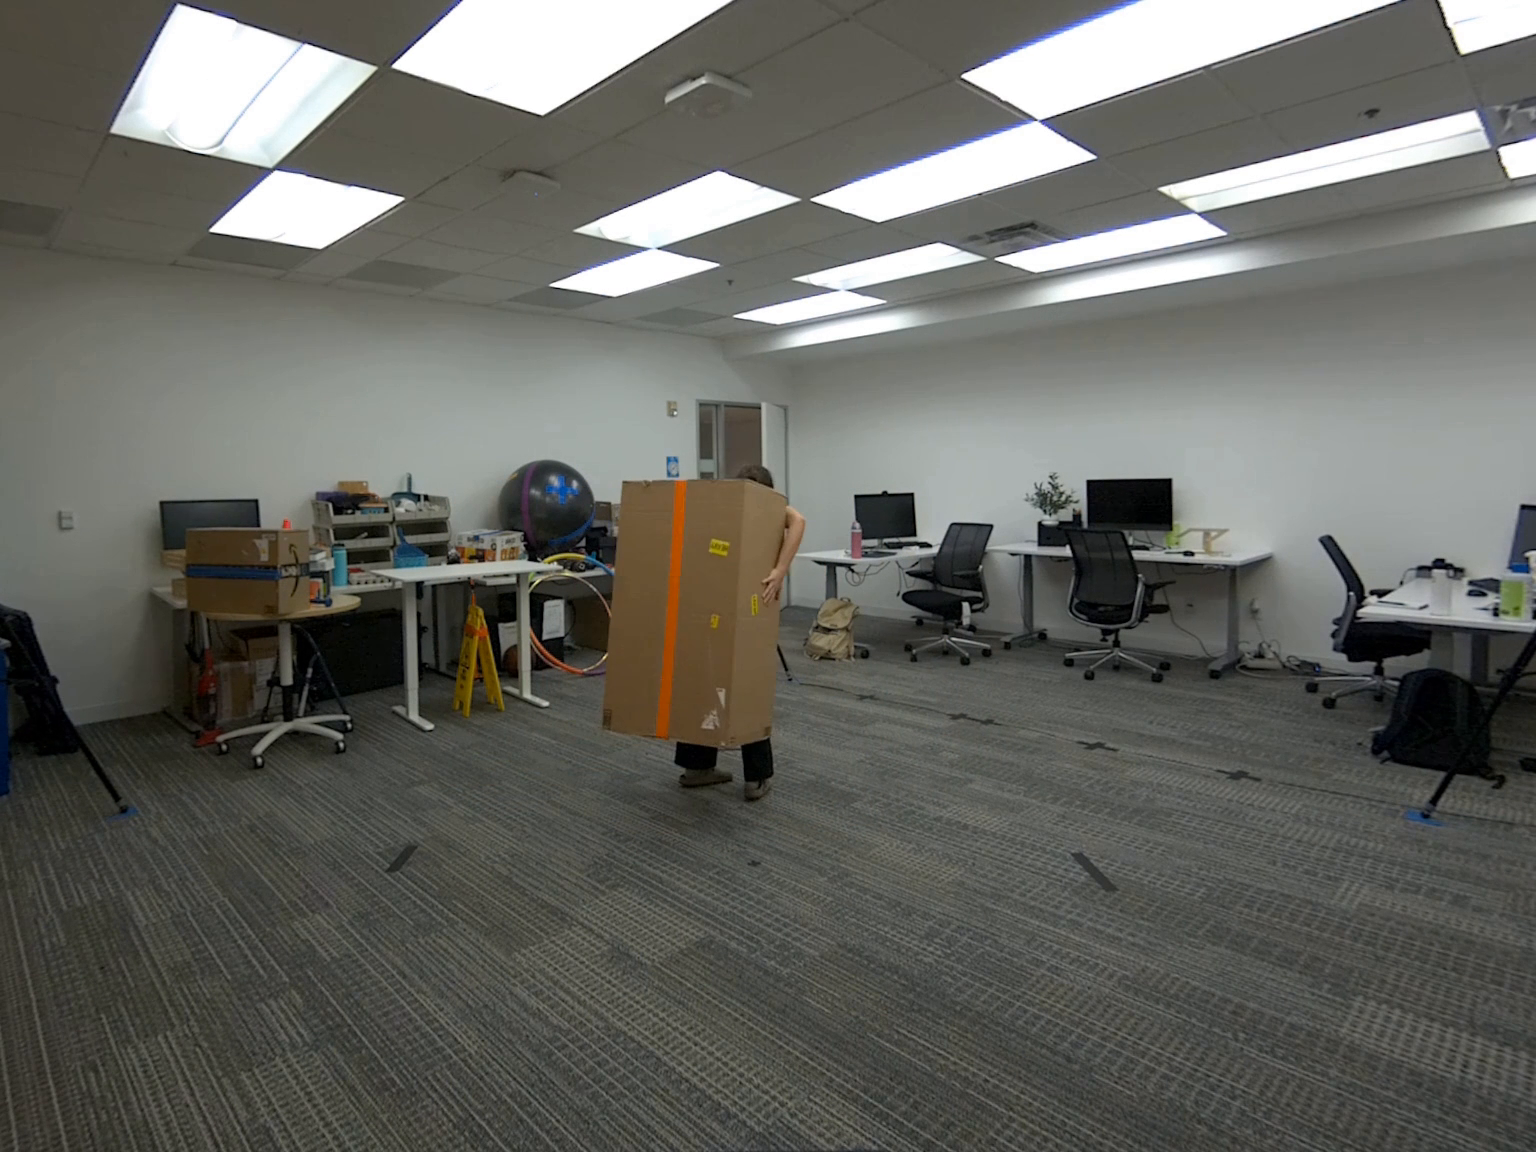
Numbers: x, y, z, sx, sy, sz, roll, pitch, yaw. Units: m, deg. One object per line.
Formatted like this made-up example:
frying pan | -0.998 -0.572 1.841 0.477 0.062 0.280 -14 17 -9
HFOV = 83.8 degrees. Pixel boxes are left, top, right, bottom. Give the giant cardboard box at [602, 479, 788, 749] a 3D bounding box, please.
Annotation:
giant cardboard box | -0.306 0.142 3.546 0.591 1.030 0.414 1 -5 26
